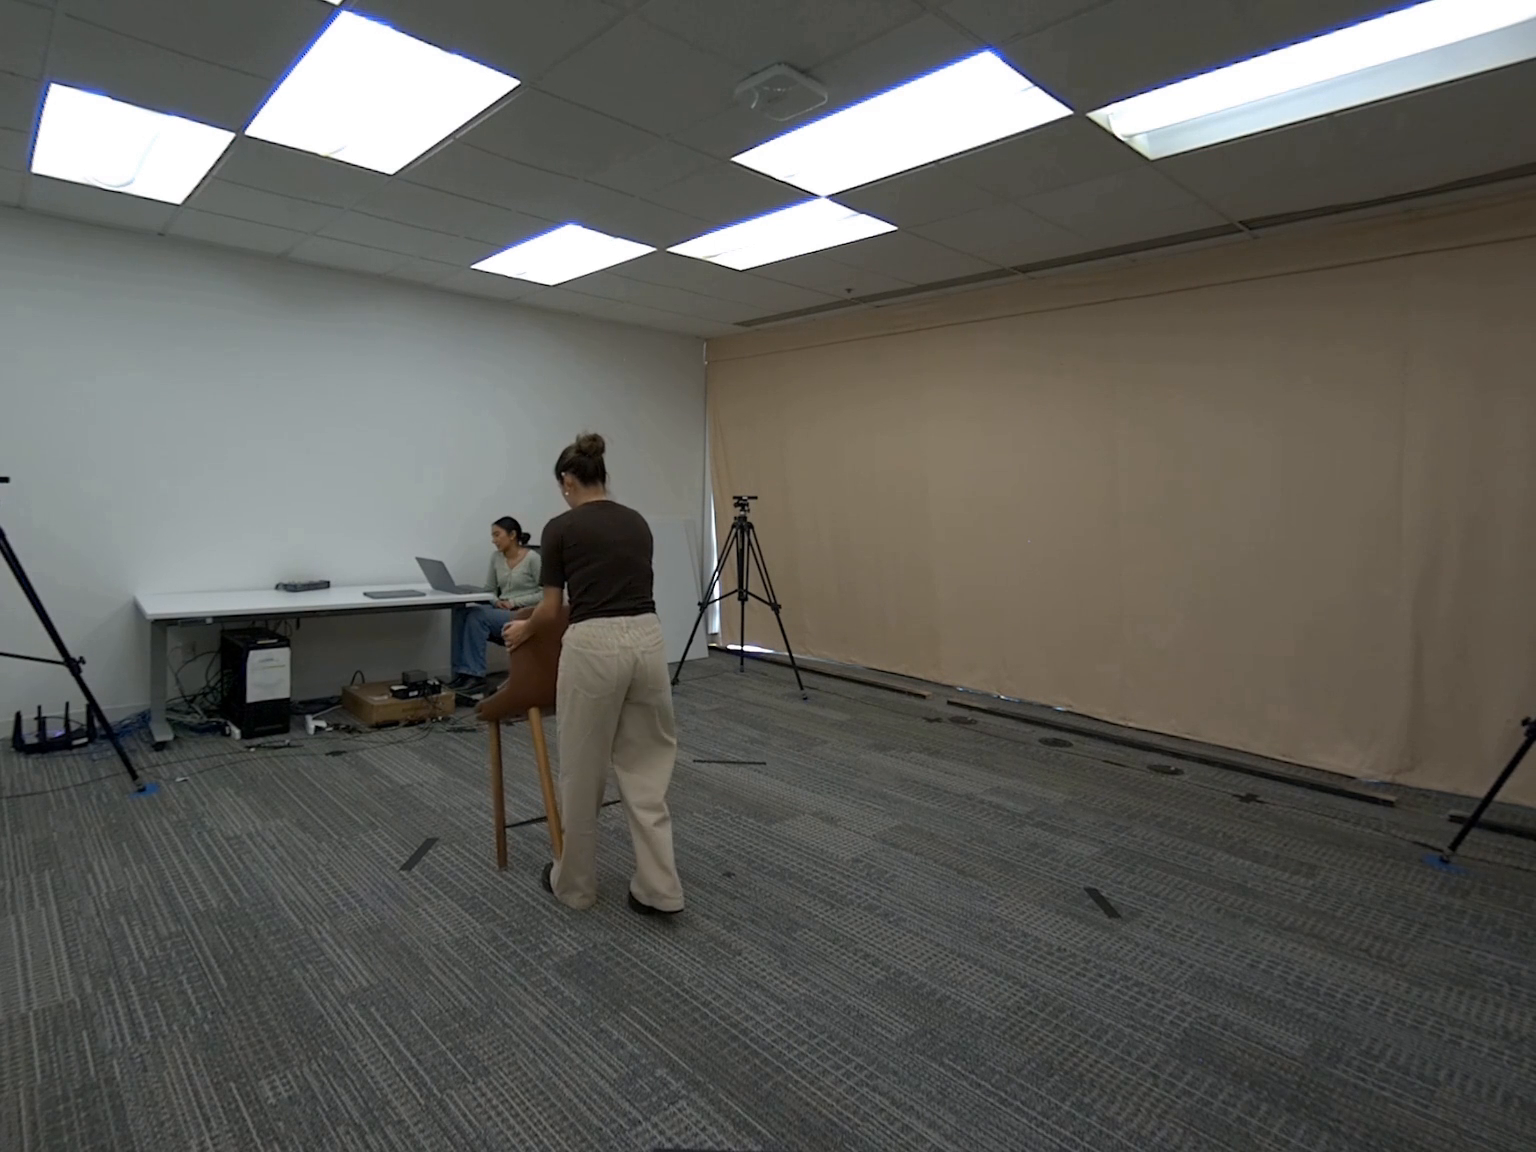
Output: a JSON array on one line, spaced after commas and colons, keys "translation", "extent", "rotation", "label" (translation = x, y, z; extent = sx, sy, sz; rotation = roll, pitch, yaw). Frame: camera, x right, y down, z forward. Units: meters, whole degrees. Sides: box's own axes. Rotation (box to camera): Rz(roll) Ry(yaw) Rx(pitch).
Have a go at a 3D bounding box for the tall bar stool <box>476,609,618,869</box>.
[{"translation": [-0.818, 0.596, 3.177], "extent": [0.446, 0.899, 0.473], "rotation": [-2, -15, -41], "label": "tall bar stool"}]
